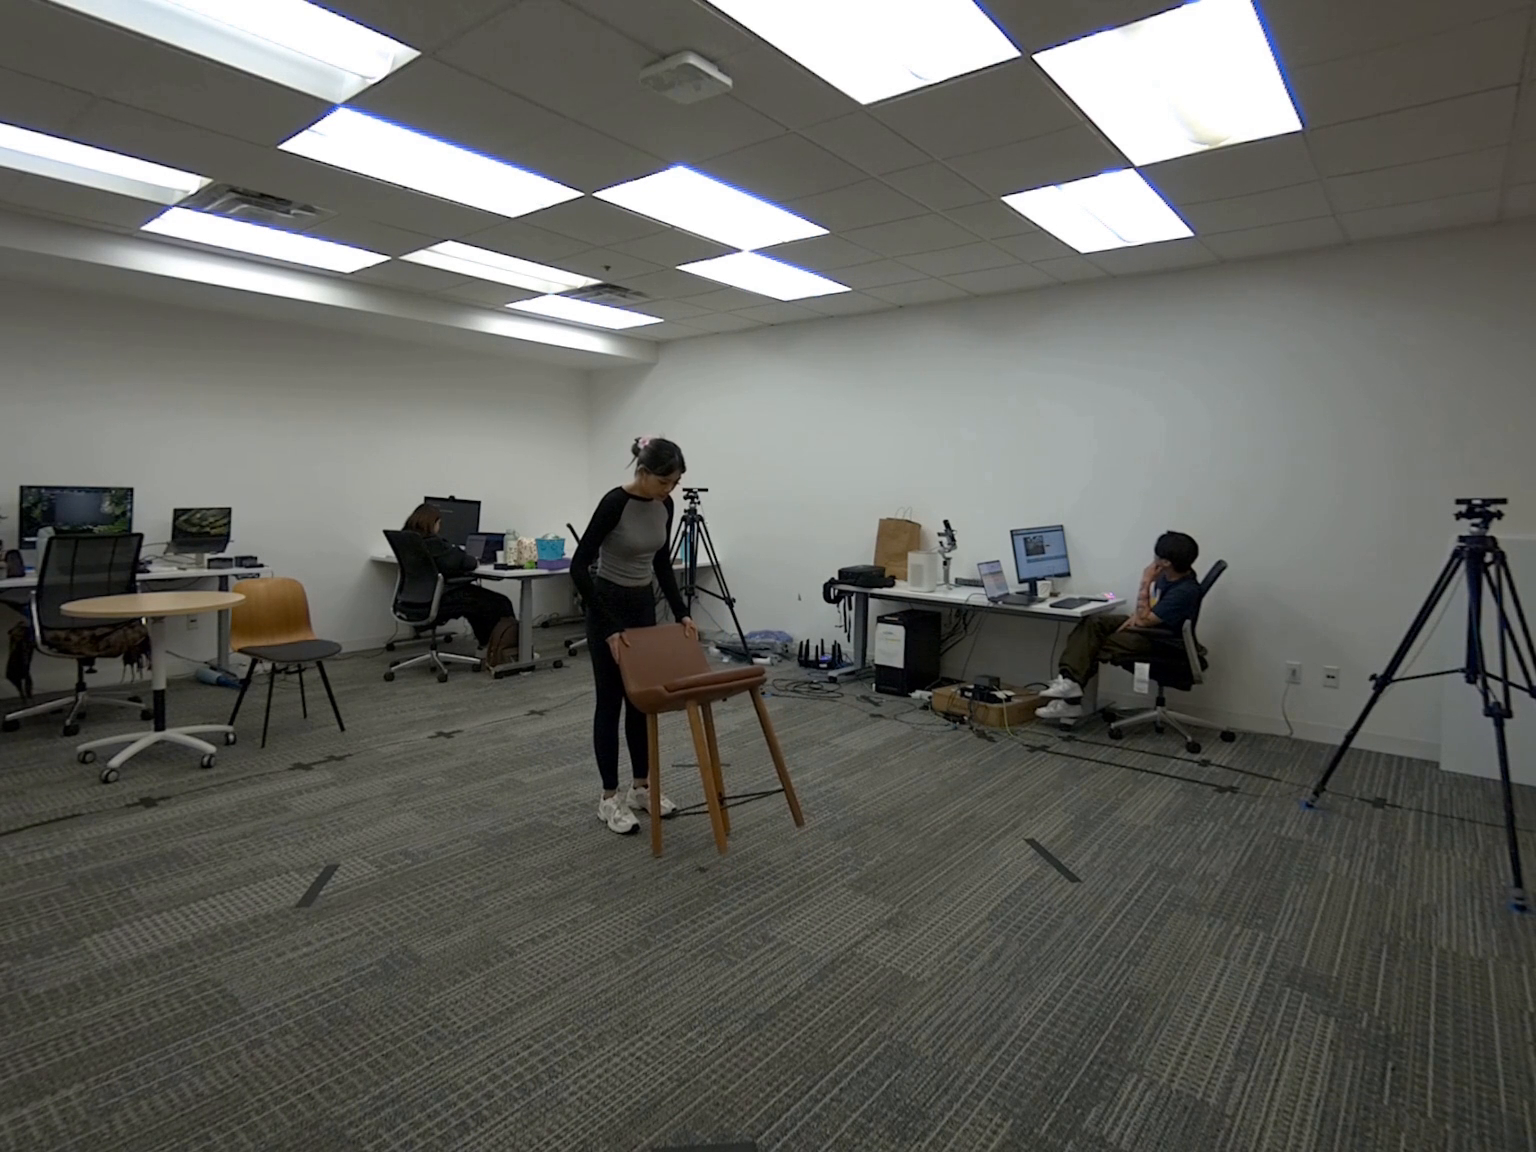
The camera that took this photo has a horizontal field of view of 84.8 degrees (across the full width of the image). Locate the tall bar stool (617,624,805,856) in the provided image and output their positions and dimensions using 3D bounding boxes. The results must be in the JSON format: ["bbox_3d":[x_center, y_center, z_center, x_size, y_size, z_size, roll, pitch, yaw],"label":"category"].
[{"bbox_3d":[-0.265,0.572,3.274,0.443,0.904,0.474,-2,-18,-41],"label":"tall bar stool"}]
